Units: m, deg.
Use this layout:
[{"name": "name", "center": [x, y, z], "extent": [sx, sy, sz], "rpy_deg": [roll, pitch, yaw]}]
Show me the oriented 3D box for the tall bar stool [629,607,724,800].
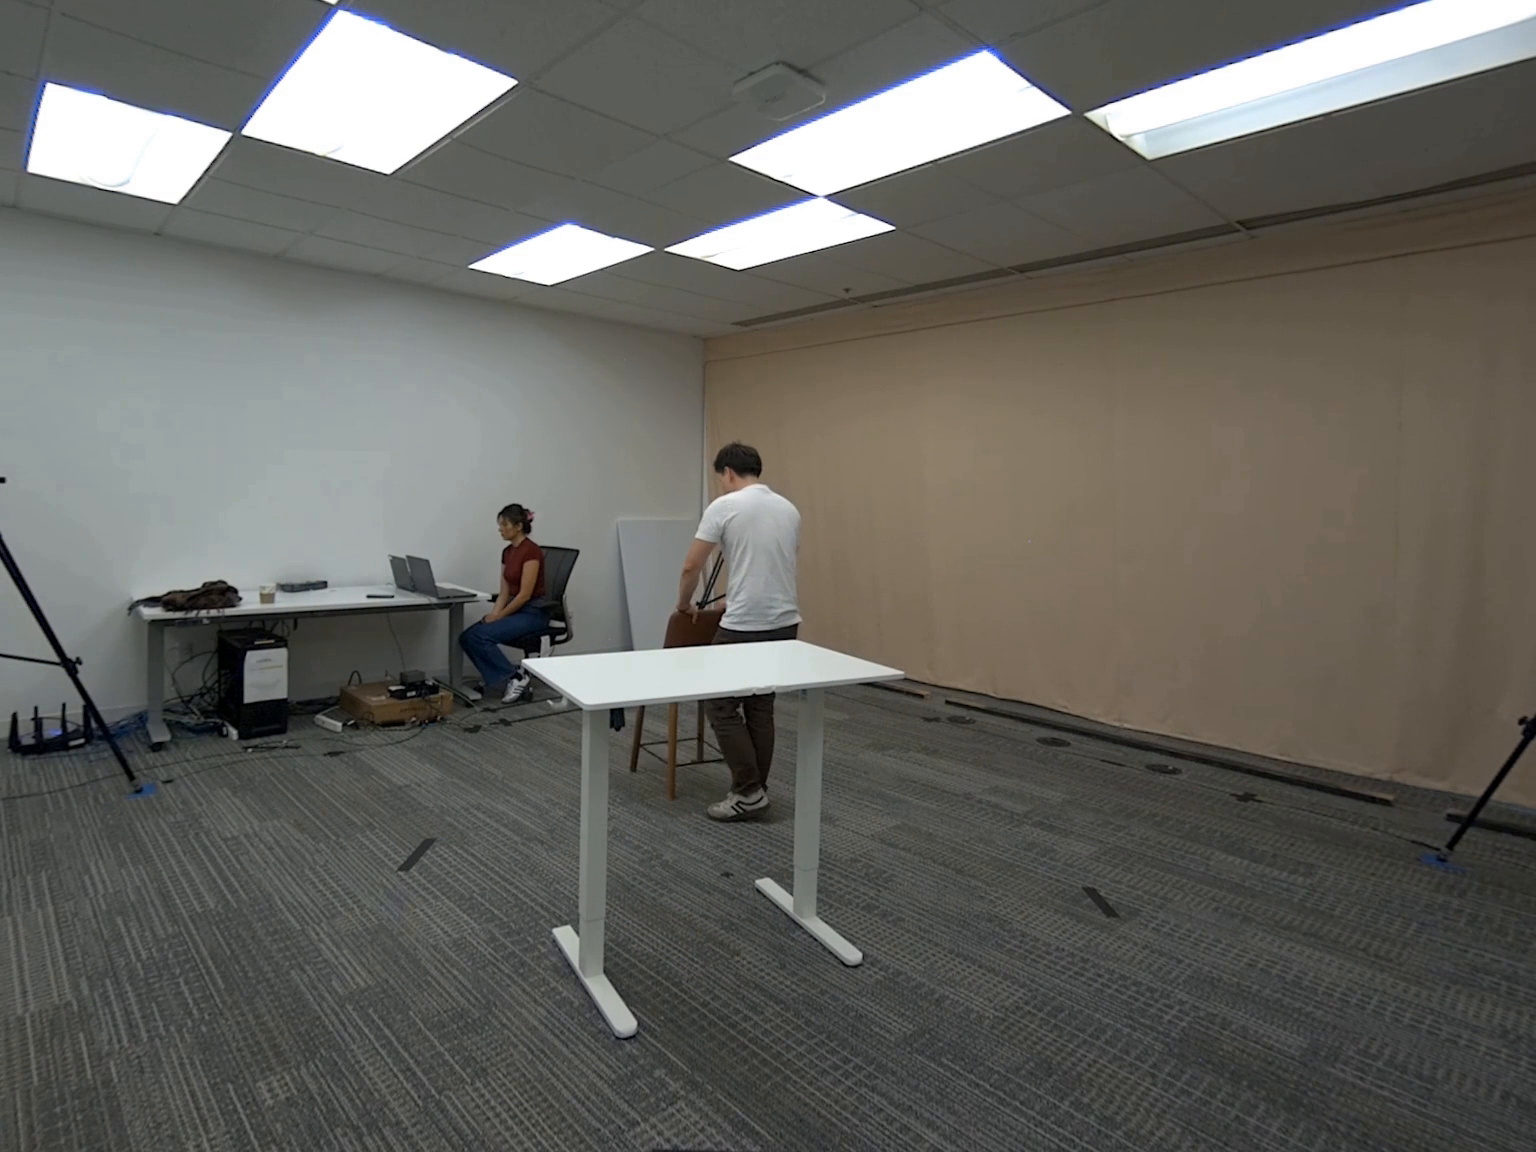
[{"name": "tall bar stool", "center": [-0.401, 0.570, 4.118], "extent": [0.447, 0.887, 0.479], "rpy_deg": [1, 6, -30]}]
